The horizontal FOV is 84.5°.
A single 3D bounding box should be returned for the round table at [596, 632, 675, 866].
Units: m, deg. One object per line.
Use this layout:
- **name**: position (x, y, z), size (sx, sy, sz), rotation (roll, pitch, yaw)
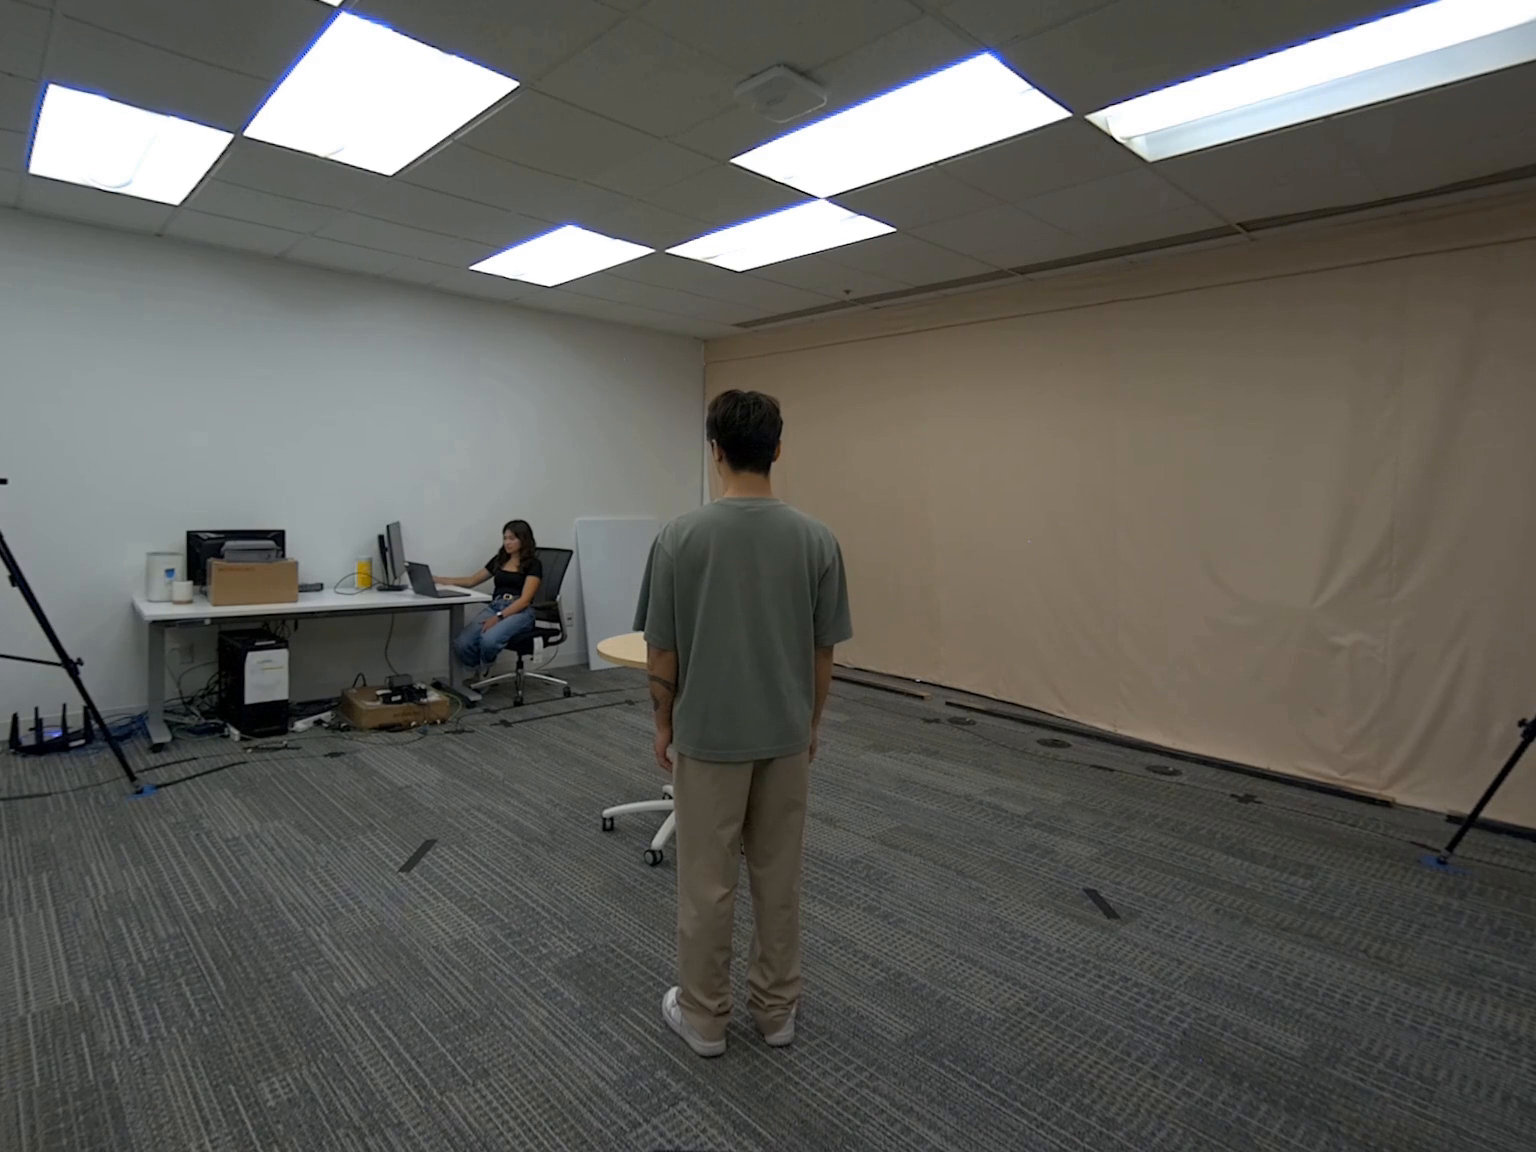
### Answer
- **round table**: position (-0.331, 0.680, 3.487), size (0.784, 0.784, 0.788), rotation (2, 5, -2)
